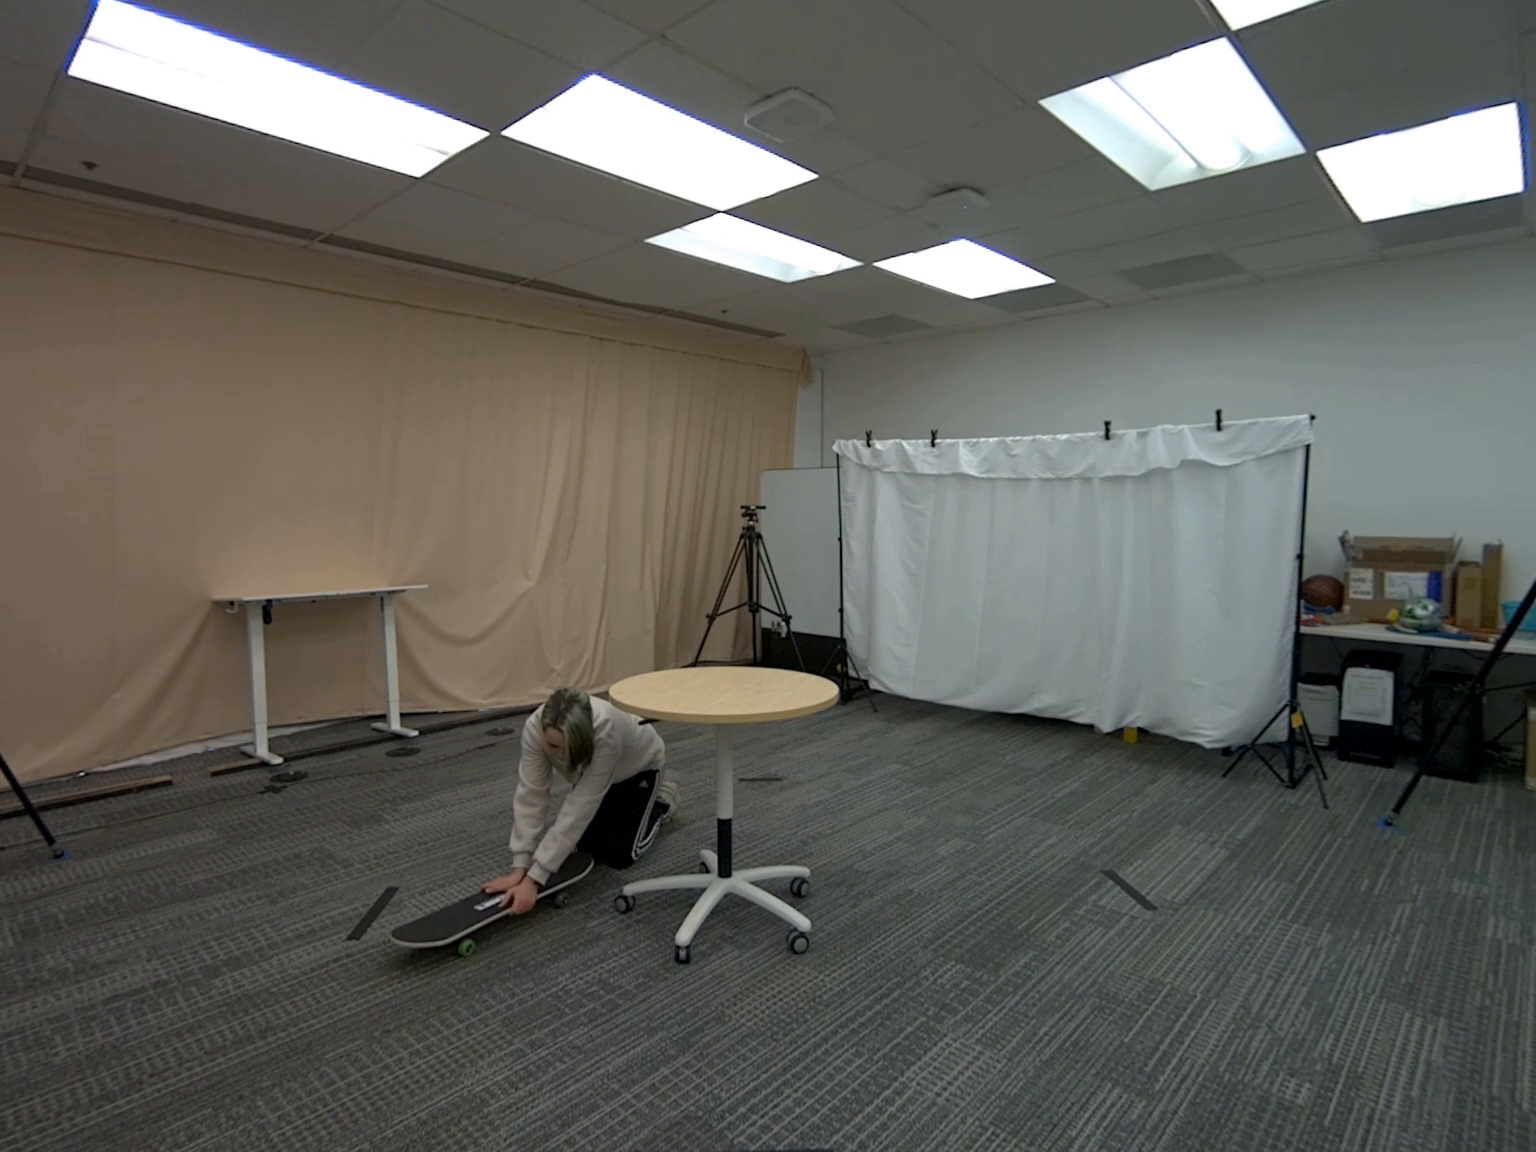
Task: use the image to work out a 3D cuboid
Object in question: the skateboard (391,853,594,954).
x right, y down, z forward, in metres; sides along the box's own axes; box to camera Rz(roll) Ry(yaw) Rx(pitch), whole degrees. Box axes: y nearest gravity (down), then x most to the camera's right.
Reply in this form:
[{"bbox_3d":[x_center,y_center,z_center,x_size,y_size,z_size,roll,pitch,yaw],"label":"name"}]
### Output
[{"bbox_3d":[-0.880,1.104,2.823,0.199,0.110,0.763,1,4,34],"label":"skateboard"}]
